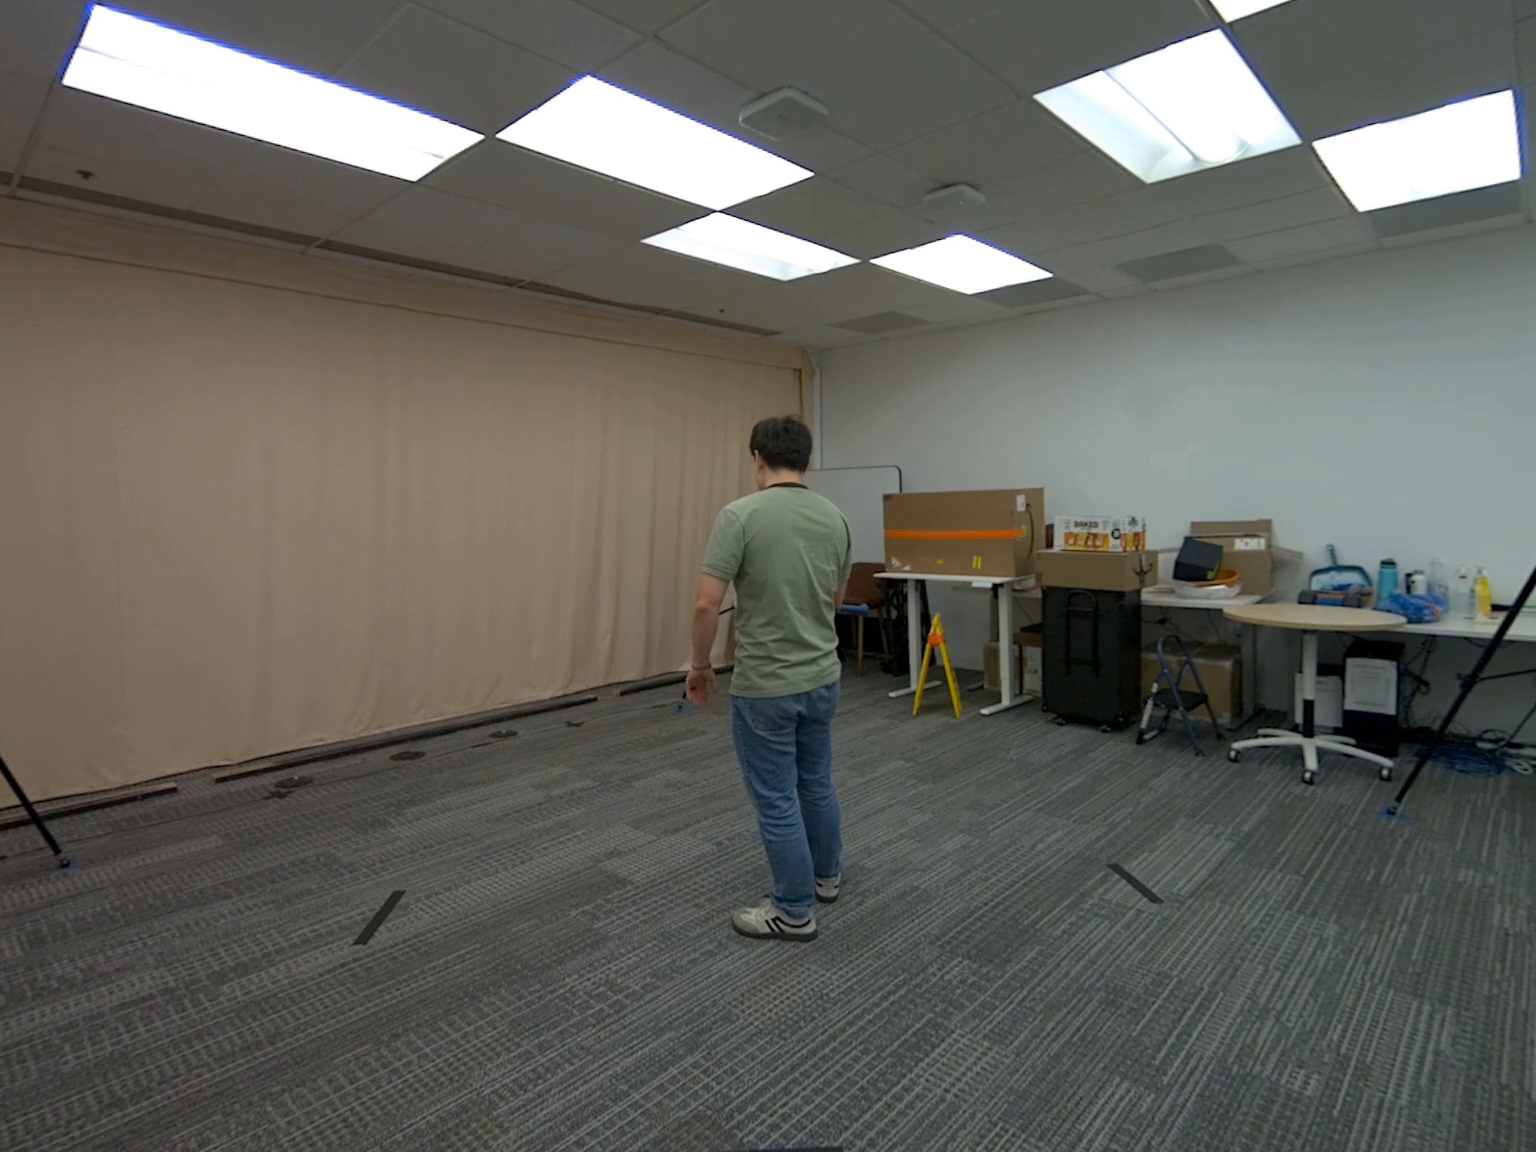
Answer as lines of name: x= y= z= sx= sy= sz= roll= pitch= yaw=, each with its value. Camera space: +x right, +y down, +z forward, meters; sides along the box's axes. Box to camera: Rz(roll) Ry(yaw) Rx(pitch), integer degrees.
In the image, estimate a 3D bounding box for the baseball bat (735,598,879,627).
baseball bat: x=0.150 y=0.116 z=3.192 sx=0.532 sy=0.089 sz=0.091 roll=6 pitch=1 yaw=-19
